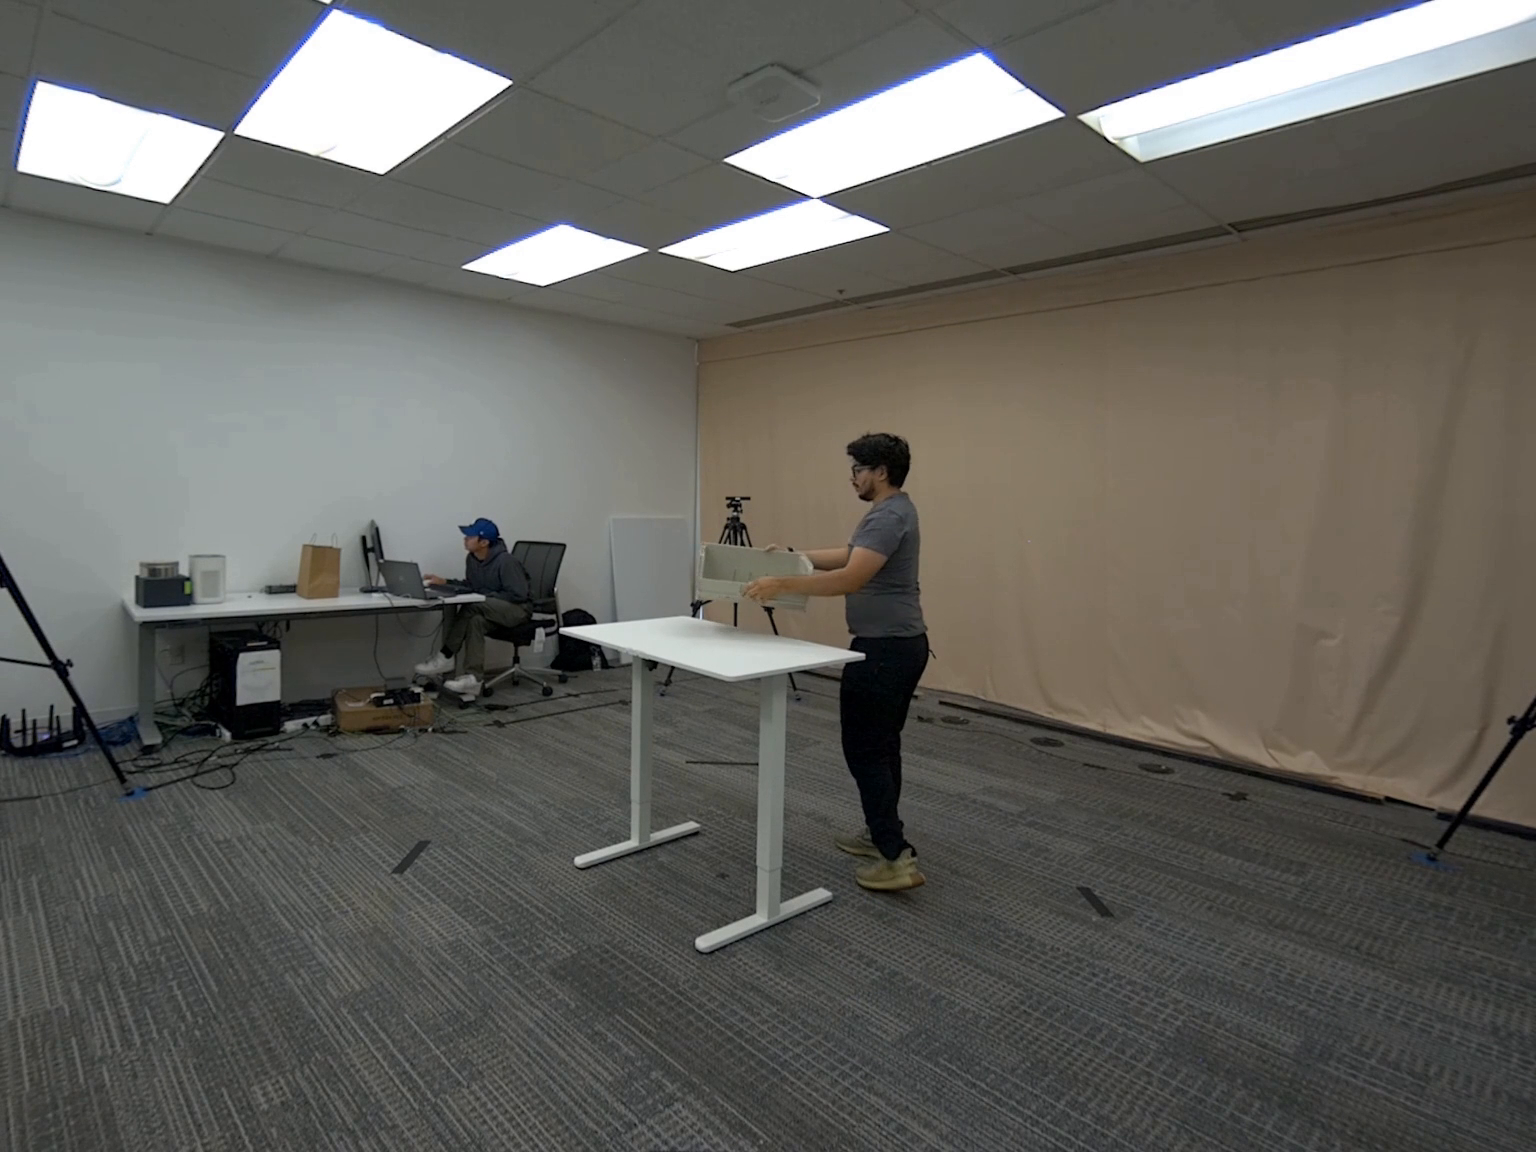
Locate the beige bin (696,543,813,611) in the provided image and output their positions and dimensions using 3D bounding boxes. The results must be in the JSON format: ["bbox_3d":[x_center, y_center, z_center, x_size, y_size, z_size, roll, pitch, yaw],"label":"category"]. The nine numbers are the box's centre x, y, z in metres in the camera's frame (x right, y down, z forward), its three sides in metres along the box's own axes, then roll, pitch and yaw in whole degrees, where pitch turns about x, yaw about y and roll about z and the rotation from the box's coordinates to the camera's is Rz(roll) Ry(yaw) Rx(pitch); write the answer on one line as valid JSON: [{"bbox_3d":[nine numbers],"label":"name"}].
[{"bbox_3d":[-0.070,0.006,3.230,0.423,0.188,0.379,5,9,0],"label":"beige bin"}]
